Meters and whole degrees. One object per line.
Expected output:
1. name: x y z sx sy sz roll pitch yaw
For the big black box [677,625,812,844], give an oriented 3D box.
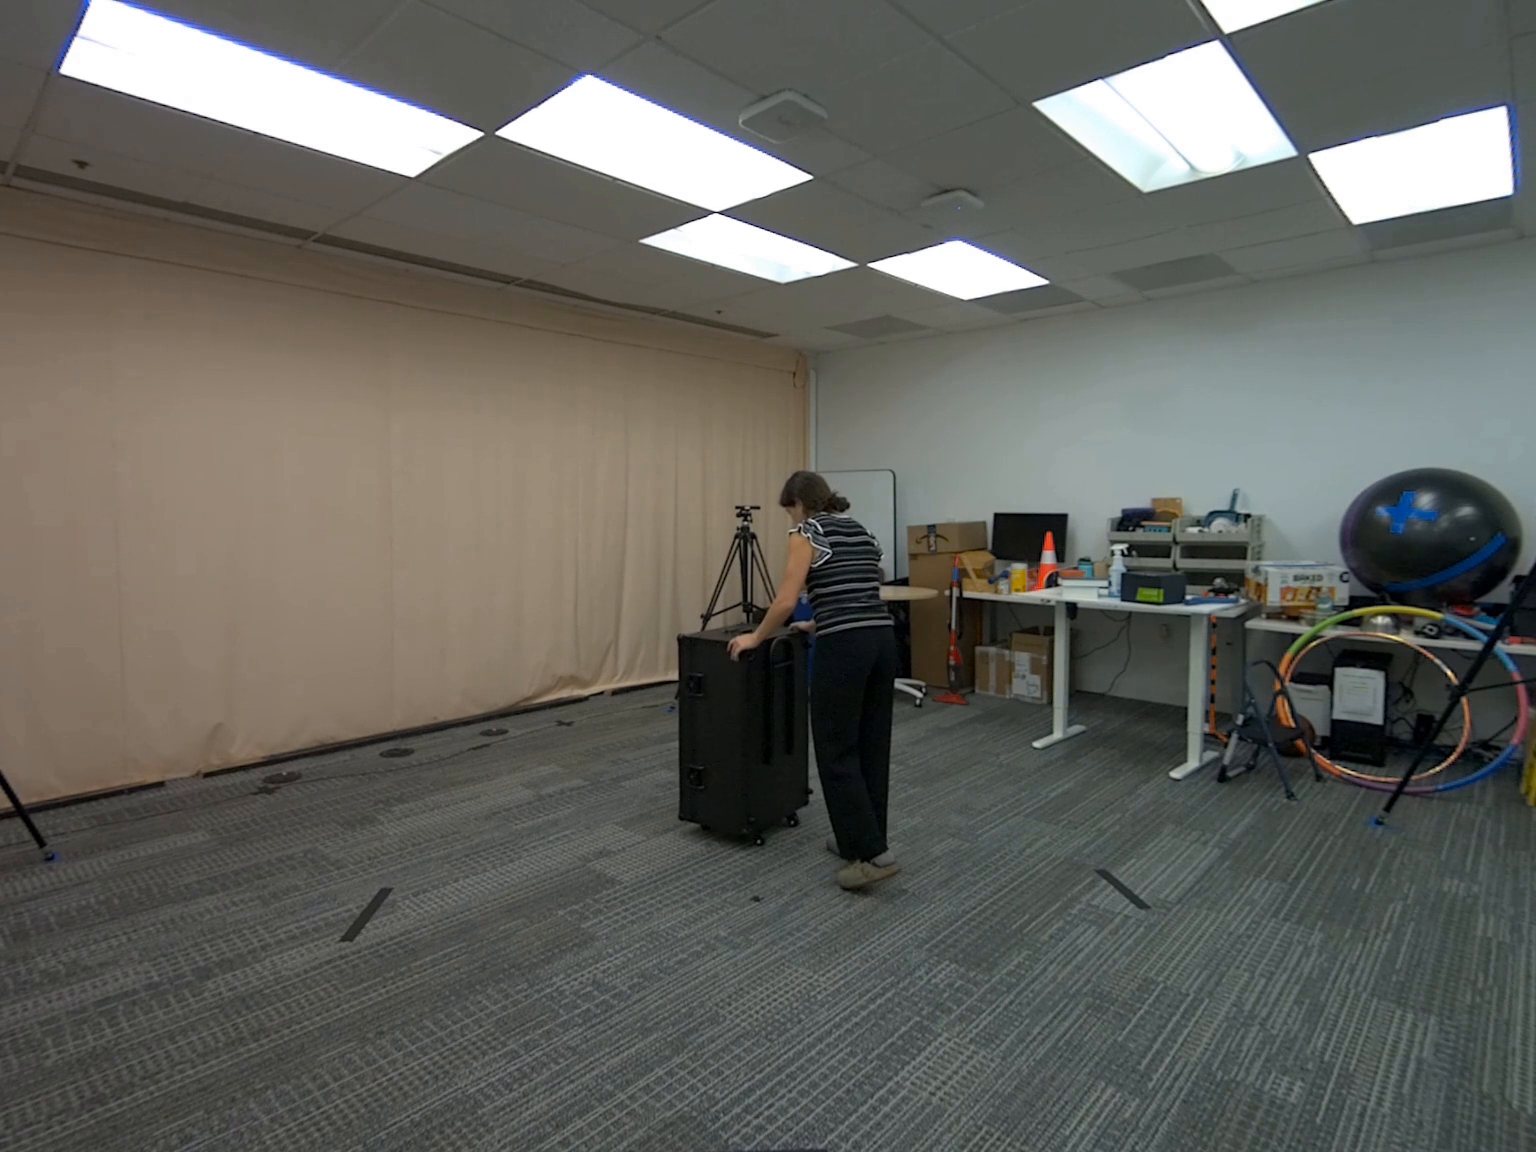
1. big black box: -0.086 0.667 3.629 0.409 0.859 0.506 3 4 35
